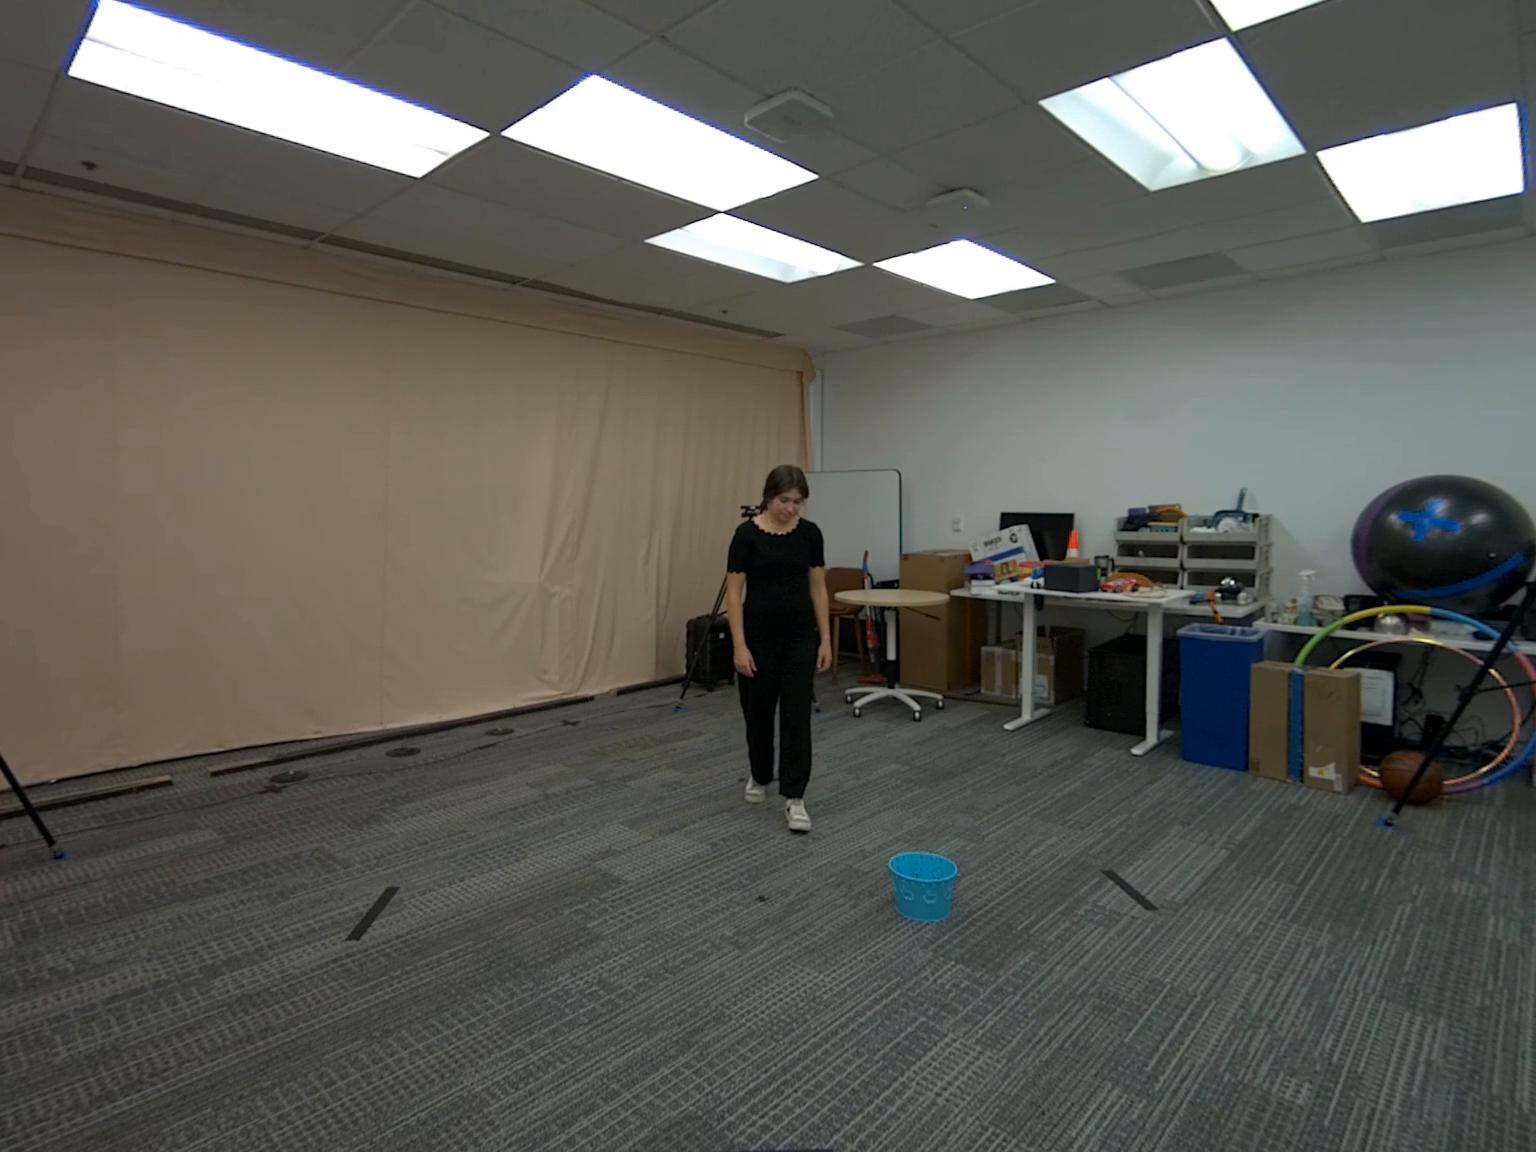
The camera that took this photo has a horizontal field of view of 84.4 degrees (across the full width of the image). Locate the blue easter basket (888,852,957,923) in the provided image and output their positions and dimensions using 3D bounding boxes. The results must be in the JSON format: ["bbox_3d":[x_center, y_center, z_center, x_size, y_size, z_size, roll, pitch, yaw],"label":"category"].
[{"bbox_3d":[0.542,1.070,2.896,0.243,0.155,0.244,0,4,-2],"label":"blue easter basket"}]
